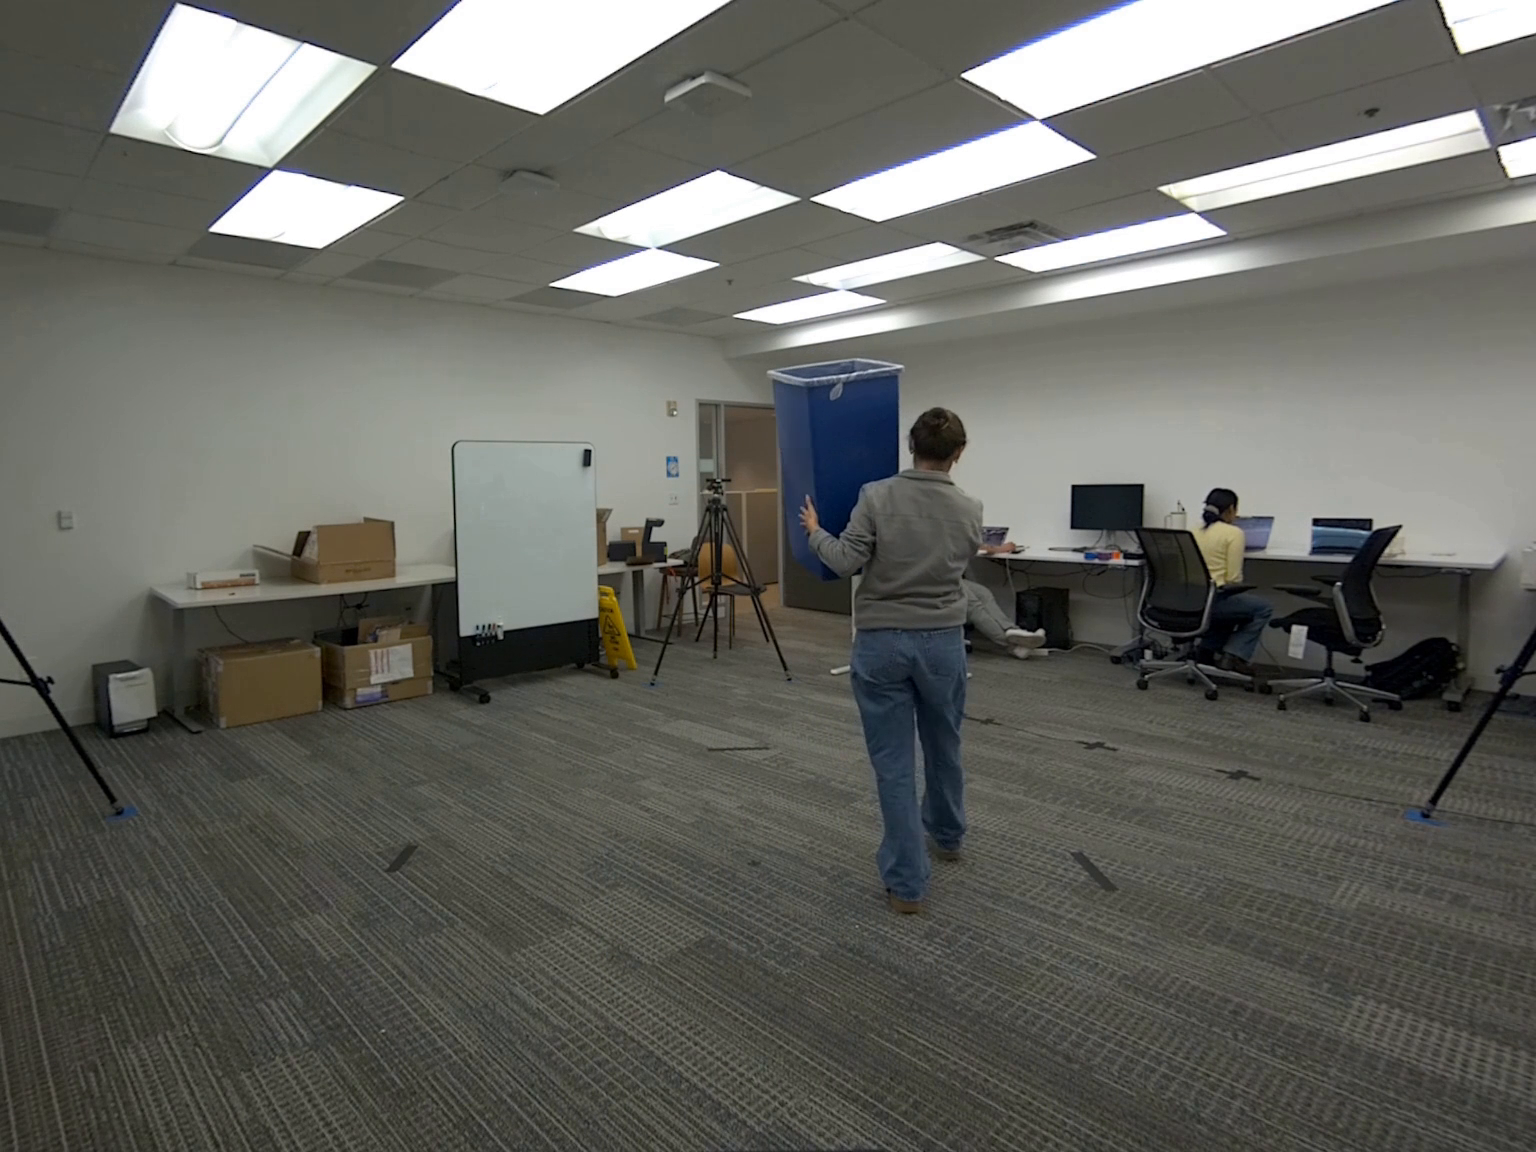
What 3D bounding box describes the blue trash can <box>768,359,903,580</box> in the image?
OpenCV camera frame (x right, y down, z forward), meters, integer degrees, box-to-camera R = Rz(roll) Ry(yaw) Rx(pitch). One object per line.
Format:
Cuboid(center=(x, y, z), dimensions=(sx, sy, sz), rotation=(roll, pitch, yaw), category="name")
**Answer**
Cuboid(center=(0.250, -0.395, 3.067), dimensions=(0.373, 0.701, 0.386), rotation=(-11, 20, -18), category="blue trash can")
